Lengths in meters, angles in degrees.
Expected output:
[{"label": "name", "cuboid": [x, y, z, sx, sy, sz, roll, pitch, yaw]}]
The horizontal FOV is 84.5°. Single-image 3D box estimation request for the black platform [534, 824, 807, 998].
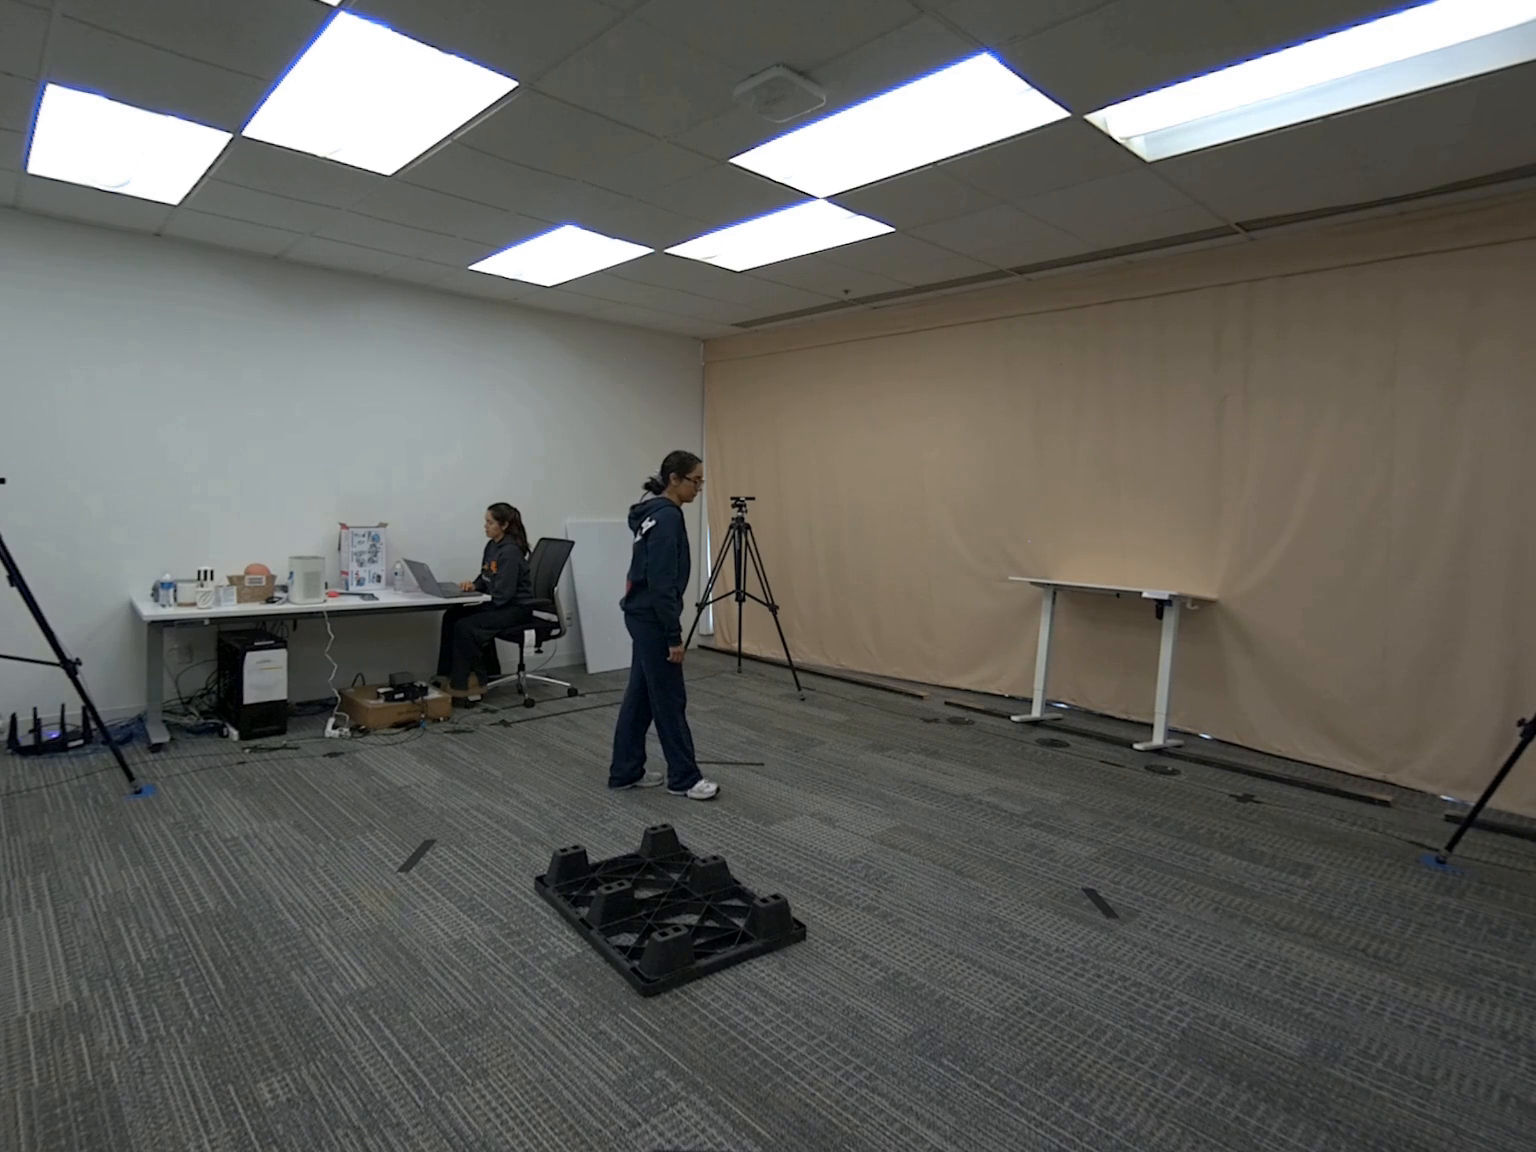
[{"label": "black platform", "cuboid": [-0.344, 1.055, 2.820, 0.592, 0.143, 0.826, -3, 7, -38]}]
